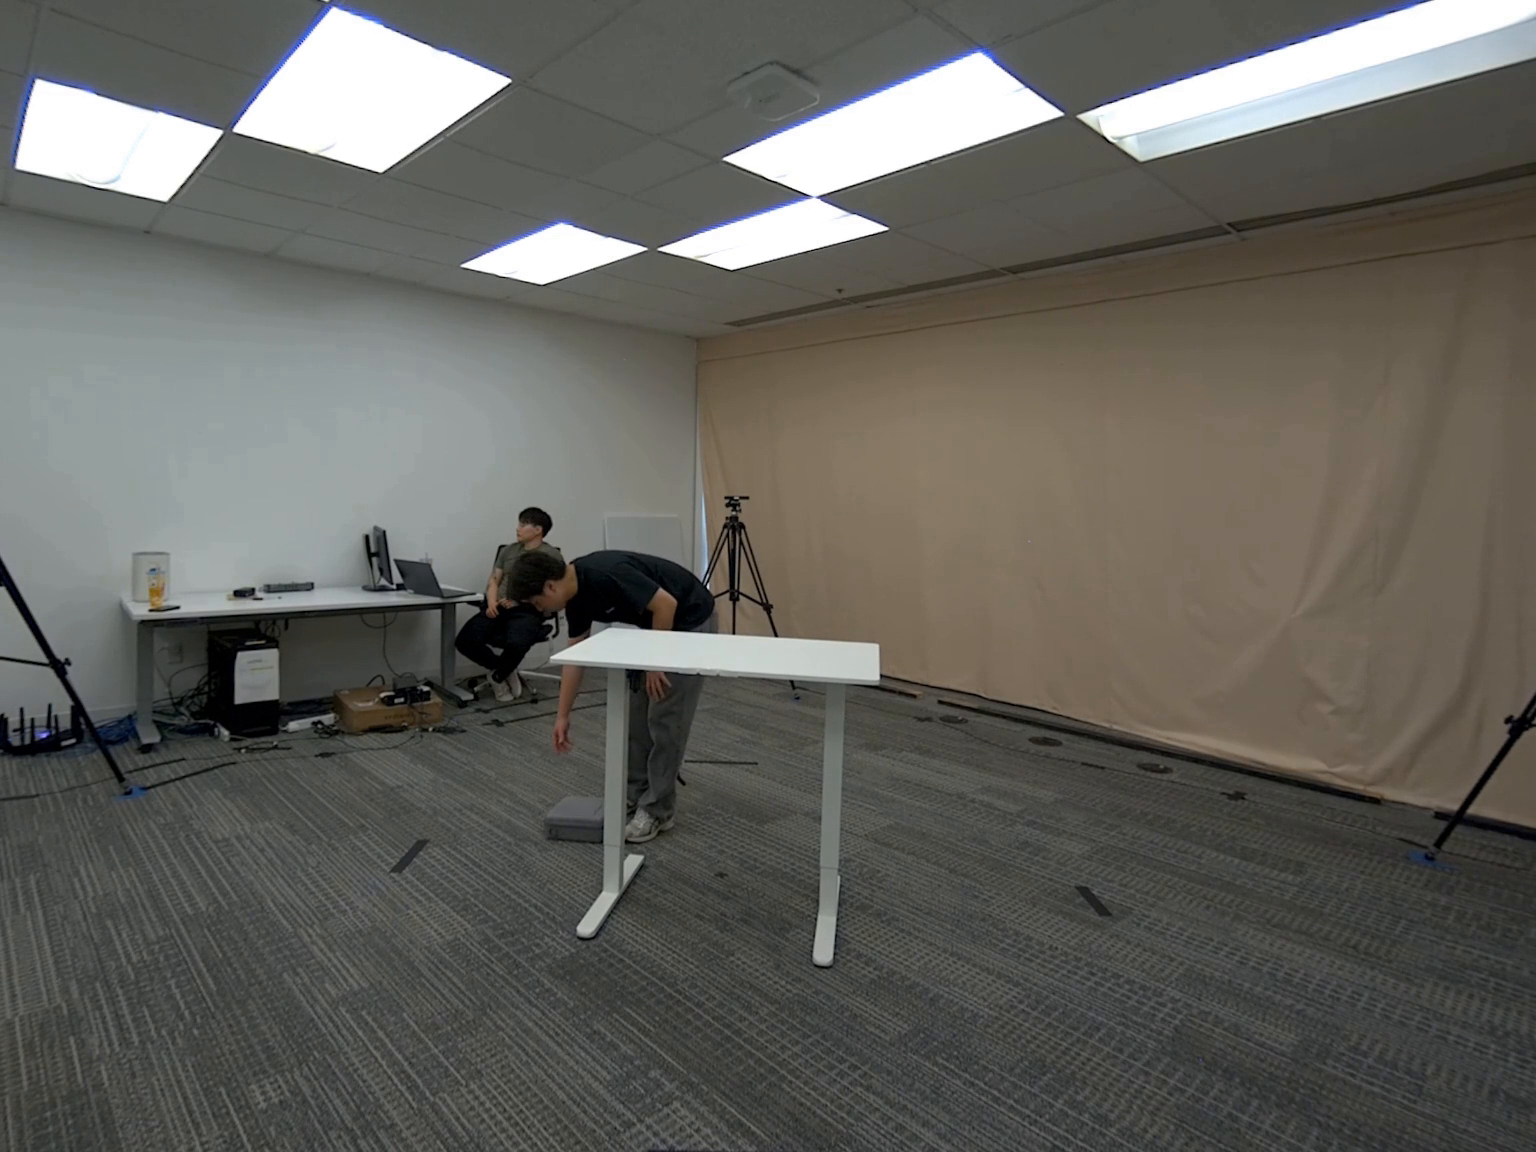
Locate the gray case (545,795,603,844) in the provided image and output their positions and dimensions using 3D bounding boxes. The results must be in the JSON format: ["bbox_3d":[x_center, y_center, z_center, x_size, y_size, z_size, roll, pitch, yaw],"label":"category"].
[{"bbox_3d":[-0.784,1.000,3.486,0.289,0.103,0.262,2,6,9],"label":"gray case"}]
